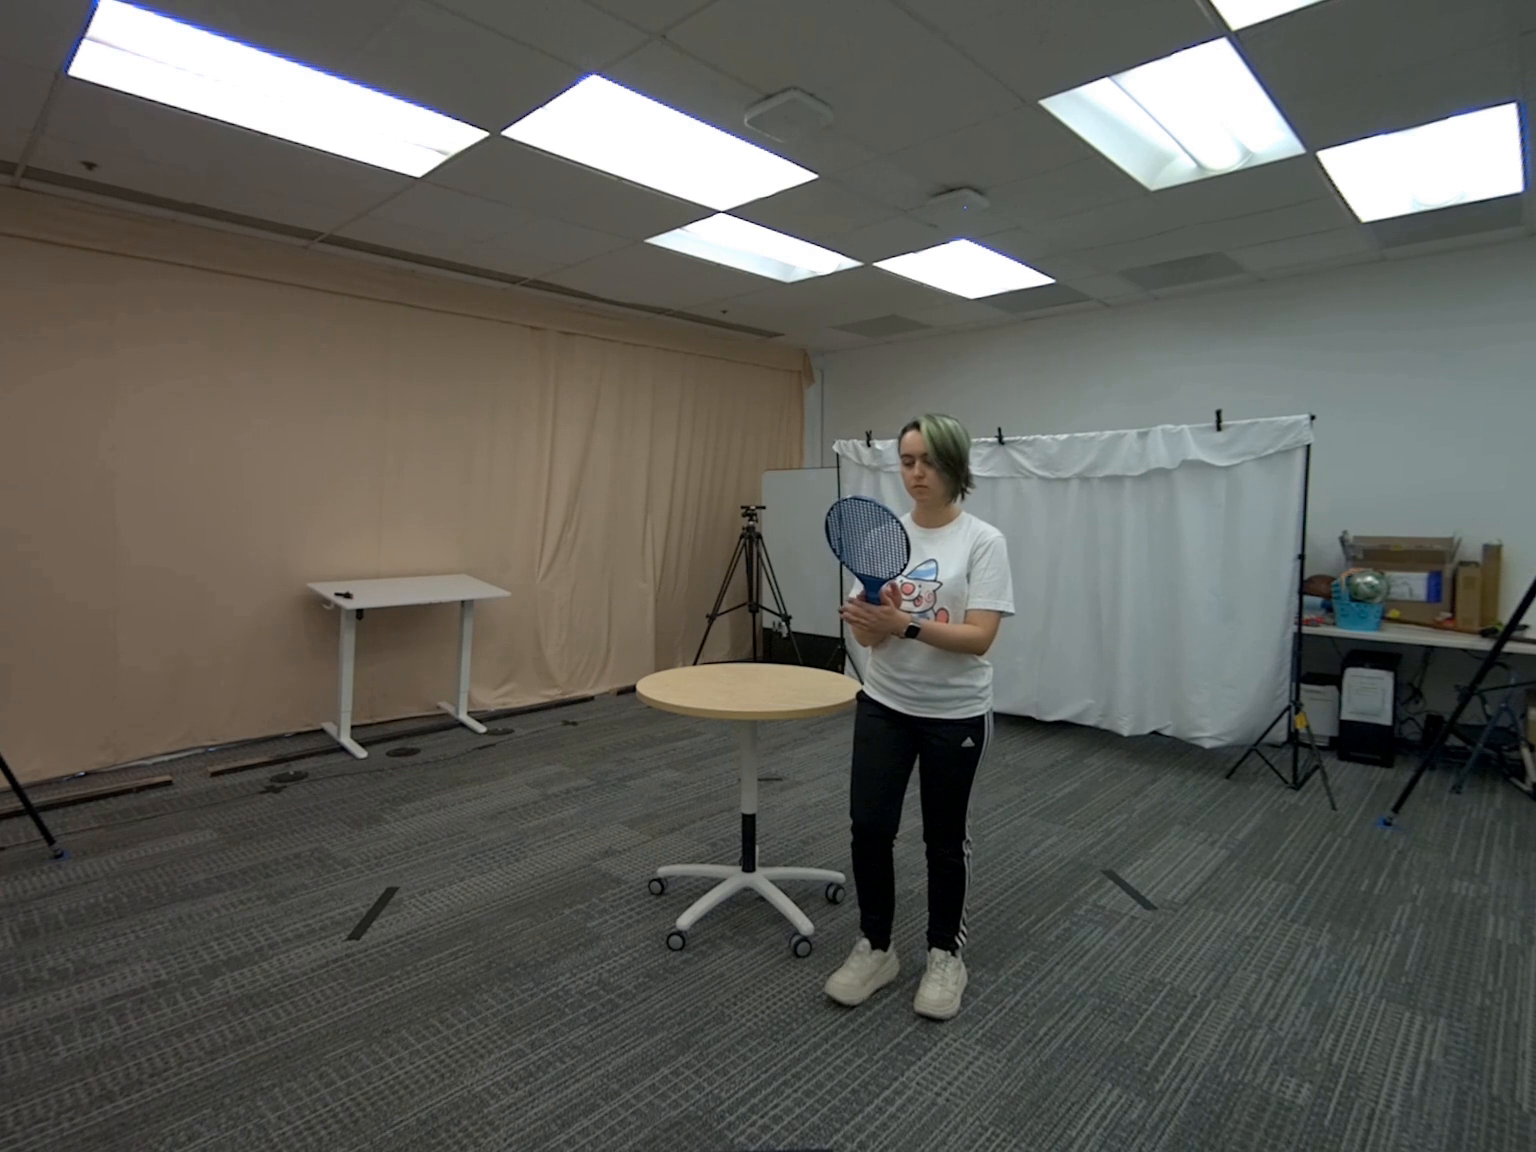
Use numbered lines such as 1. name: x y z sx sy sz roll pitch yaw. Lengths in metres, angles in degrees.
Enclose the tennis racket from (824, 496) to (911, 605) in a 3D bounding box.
1. tennis racket: 0.252 -0.024 2.046 0.220 0.421 0.031 9 45 31
